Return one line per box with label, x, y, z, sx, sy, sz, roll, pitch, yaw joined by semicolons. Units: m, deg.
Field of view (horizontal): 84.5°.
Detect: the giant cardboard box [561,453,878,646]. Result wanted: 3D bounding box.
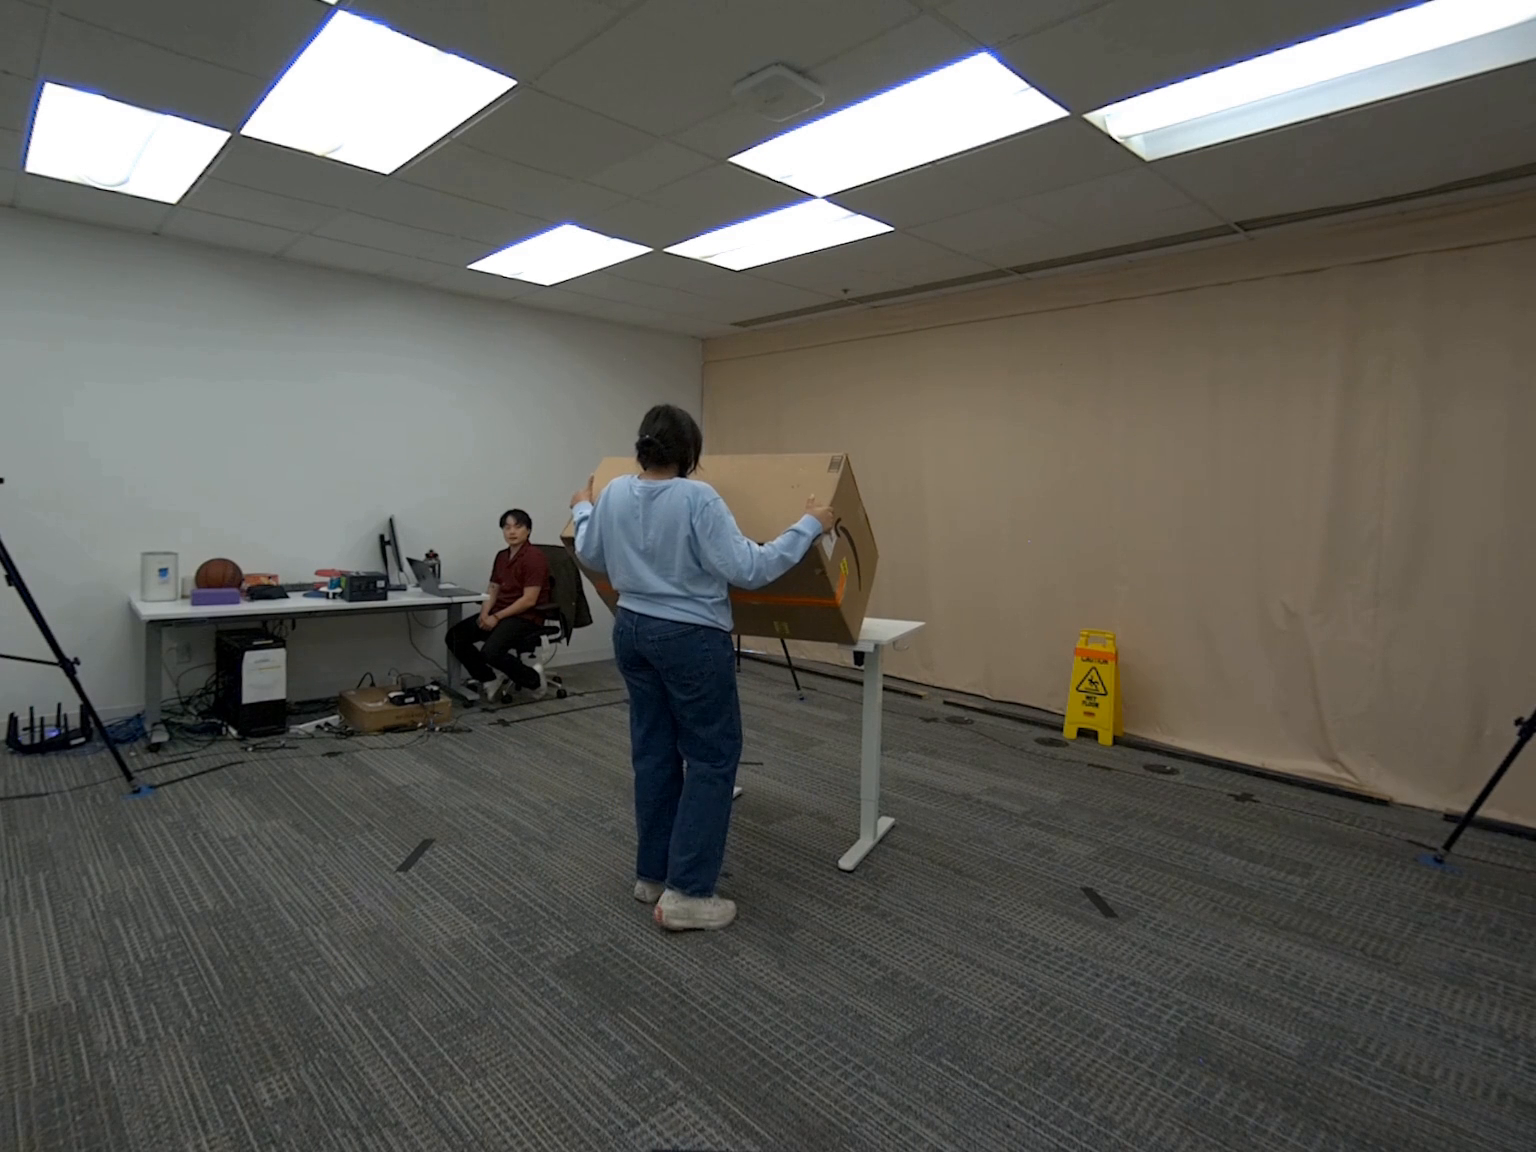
giant cardboard box;-0.168;-0.112;3.225;1.046;0.431;0.560;3;-39;25
